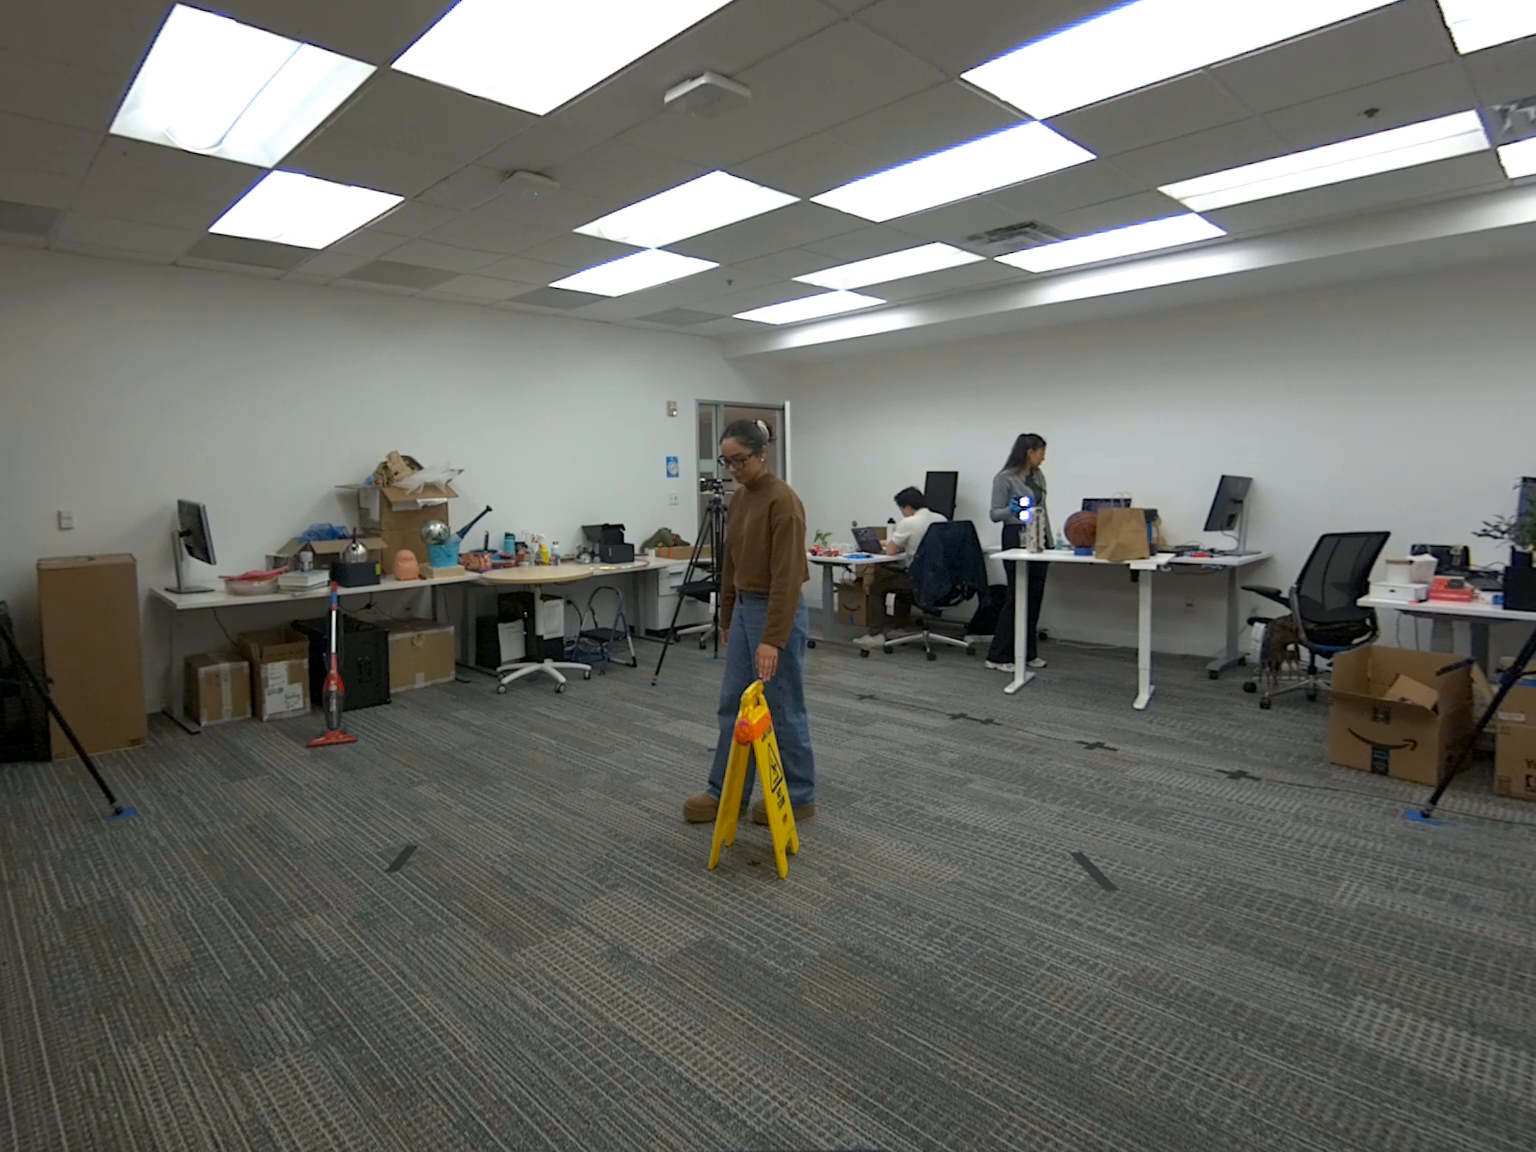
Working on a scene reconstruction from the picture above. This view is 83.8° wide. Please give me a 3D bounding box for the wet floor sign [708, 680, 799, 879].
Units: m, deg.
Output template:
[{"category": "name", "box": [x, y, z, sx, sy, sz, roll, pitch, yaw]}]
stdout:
[{"category": "wet floor sign", "box": [-0.059, 0.722, 3.126, 0.294, 0.644, 0.279, -1, 3, 15]}]
